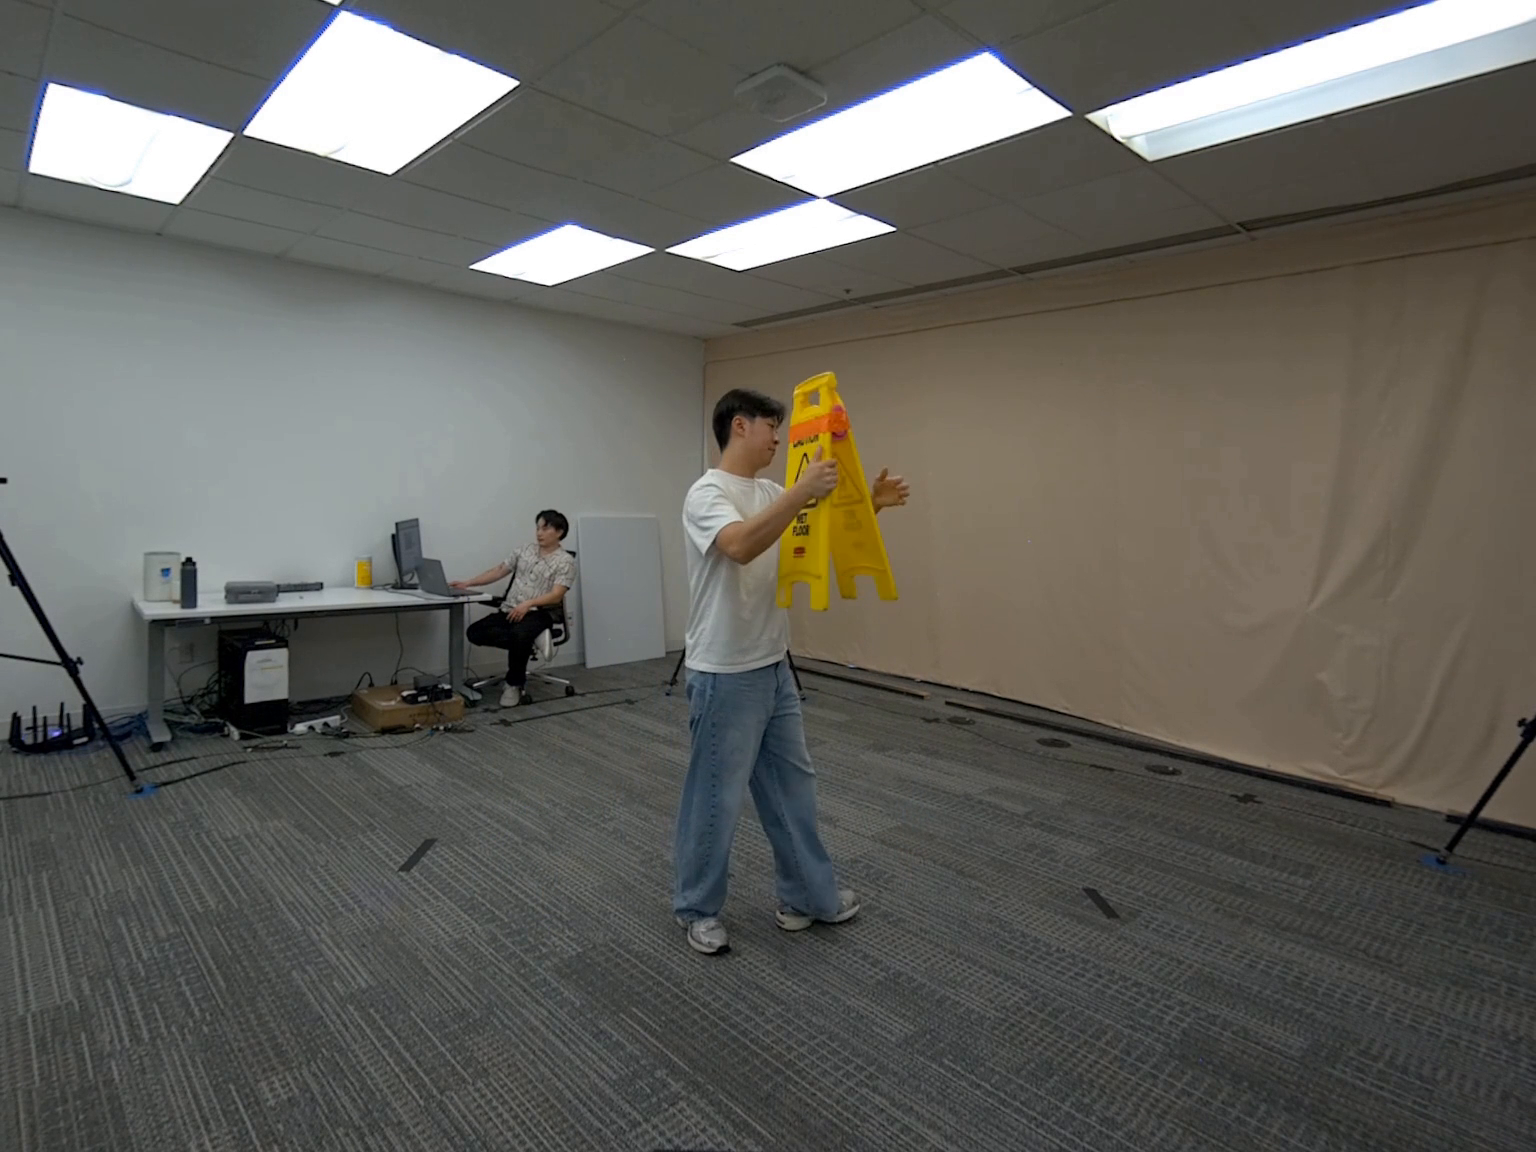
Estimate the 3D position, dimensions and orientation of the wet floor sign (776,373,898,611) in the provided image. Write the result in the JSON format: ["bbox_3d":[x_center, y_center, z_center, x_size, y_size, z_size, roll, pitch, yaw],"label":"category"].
[{"bbox_3d":[0.160,-0.239,2.402,0.285,0.646,0.287,-4,0,-25],"label":"wet floor sign"}]
